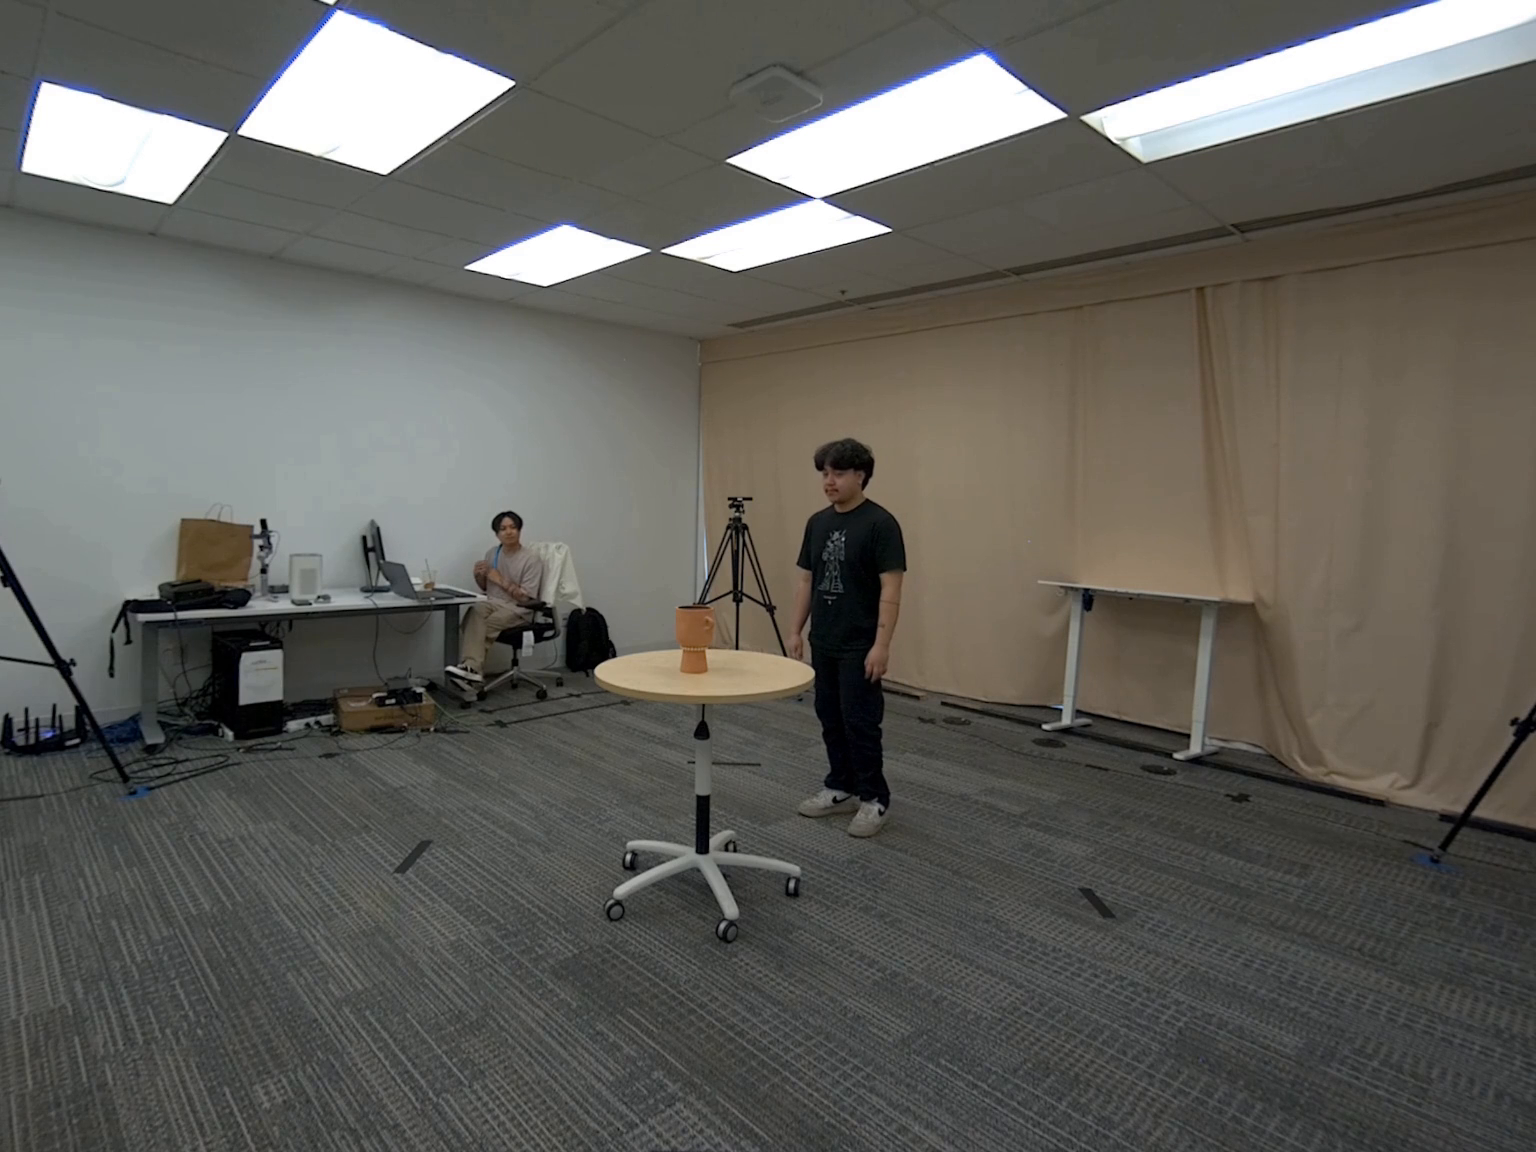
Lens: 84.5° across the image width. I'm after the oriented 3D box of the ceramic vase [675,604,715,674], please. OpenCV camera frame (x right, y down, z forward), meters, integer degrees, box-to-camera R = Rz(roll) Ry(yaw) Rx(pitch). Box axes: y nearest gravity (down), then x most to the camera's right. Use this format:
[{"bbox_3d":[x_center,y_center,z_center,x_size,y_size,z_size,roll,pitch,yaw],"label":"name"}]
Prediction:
[{"bbox_3d":[-0.264,0.221,2.908,0.134,0.219,0.160,1,5,-6],"label":"ceramic vase"}]
